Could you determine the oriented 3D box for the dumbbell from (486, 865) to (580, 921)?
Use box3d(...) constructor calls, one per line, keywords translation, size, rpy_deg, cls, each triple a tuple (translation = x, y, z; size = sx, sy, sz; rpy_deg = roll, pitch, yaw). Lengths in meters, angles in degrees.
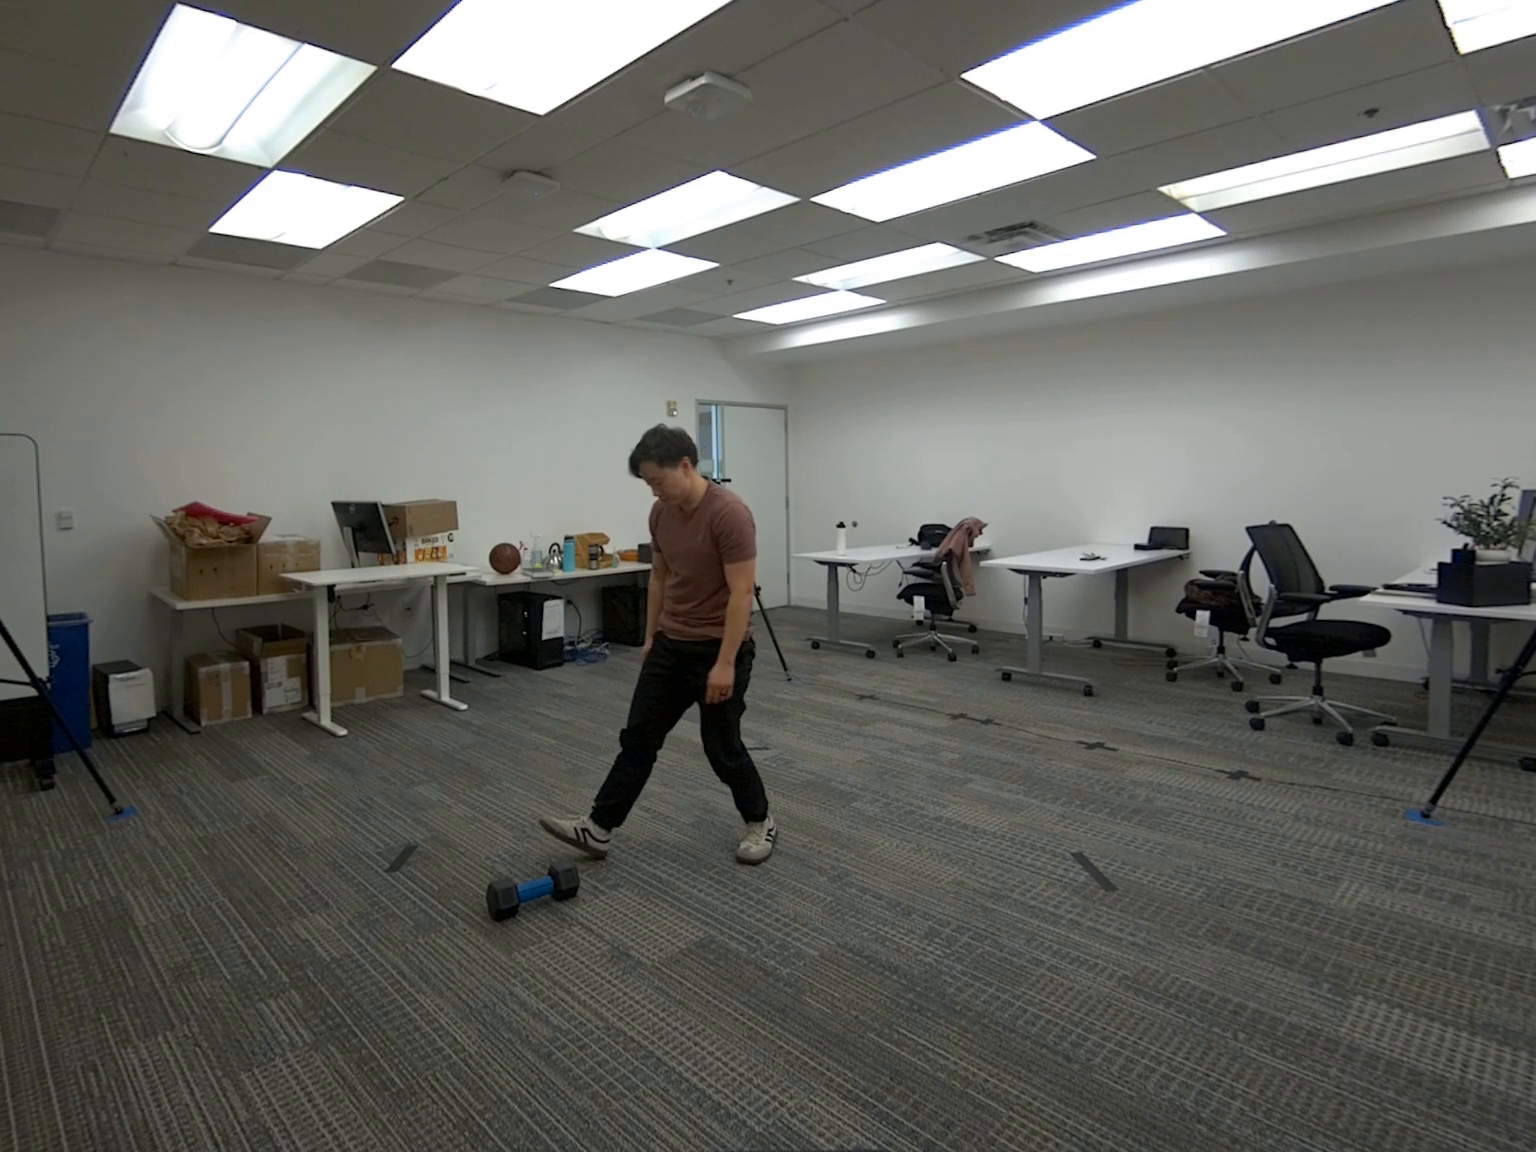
box3d(translation=(-0.772, 1.039, 2.823), size=(0.286, 0.126, 0.109), rpy_deg=(-5, -24, -35), cls="dumbbell")
